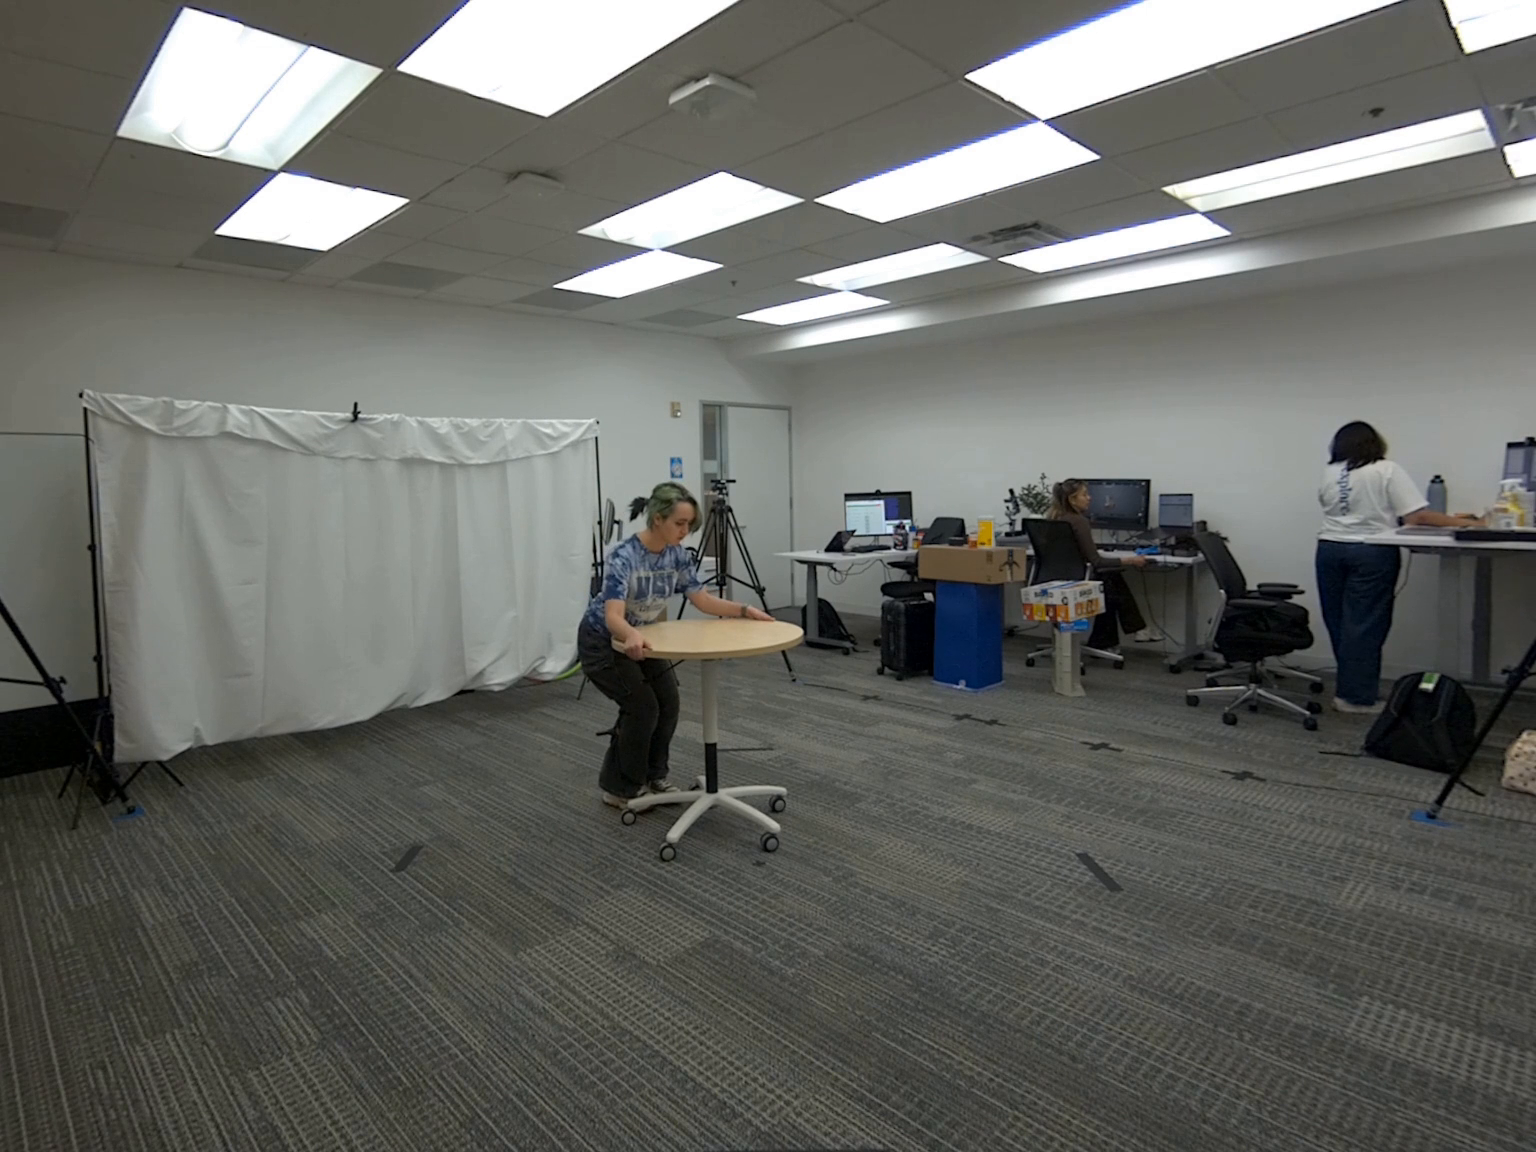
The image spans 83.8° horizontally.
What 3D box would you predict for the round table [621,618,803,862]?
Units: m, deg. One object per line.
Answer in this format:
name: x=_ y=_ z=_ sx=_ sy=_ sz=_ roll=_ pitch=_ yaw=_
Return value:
round table: x=-0.227 y=0.625 z=3.433 sx=0.763 sy=0.791 sz=0.767 roll=-2 pitch=4 yaw=-2
